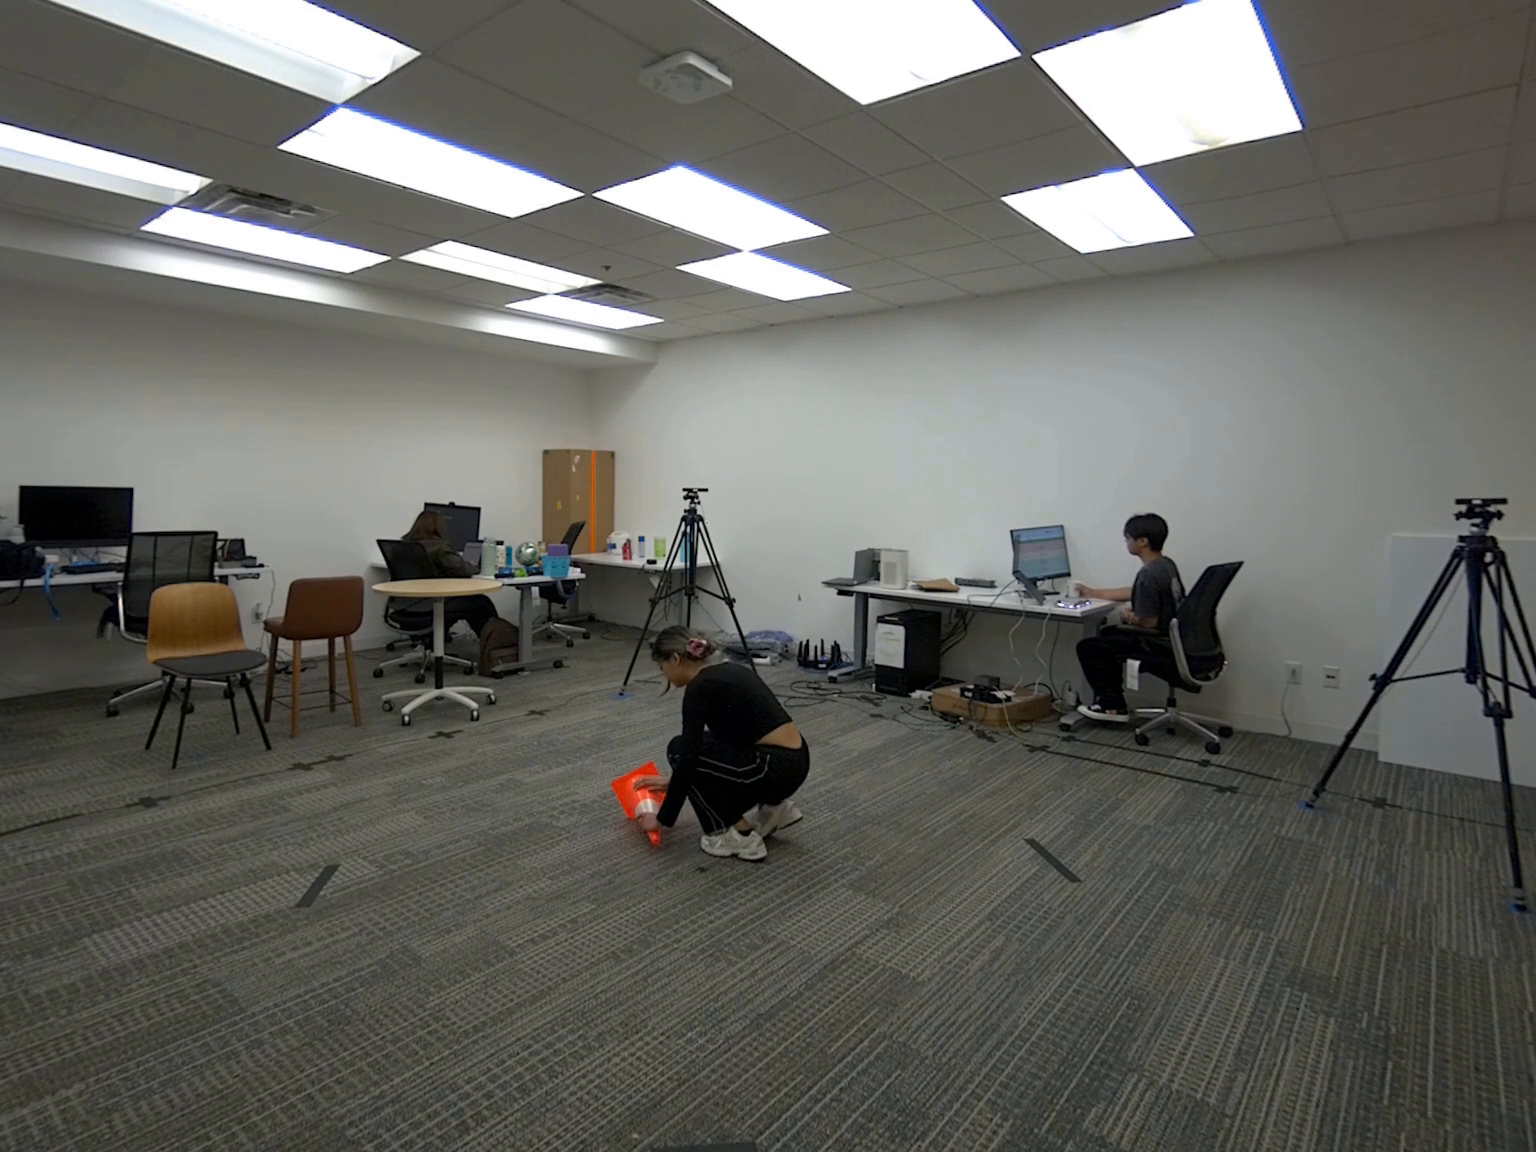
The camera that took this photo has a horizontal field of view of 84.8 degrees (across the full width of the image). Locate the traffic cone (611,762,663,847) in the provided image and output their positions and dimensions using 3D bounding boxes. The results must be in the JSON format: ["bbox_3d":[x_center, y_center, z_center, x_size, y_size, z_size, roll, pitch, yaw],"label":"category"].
[{"bbox_3d":[-0.498,0.950,3.400,0.204,0.199,0.393,-23,18,-6],"label":"traffic cone"}]
